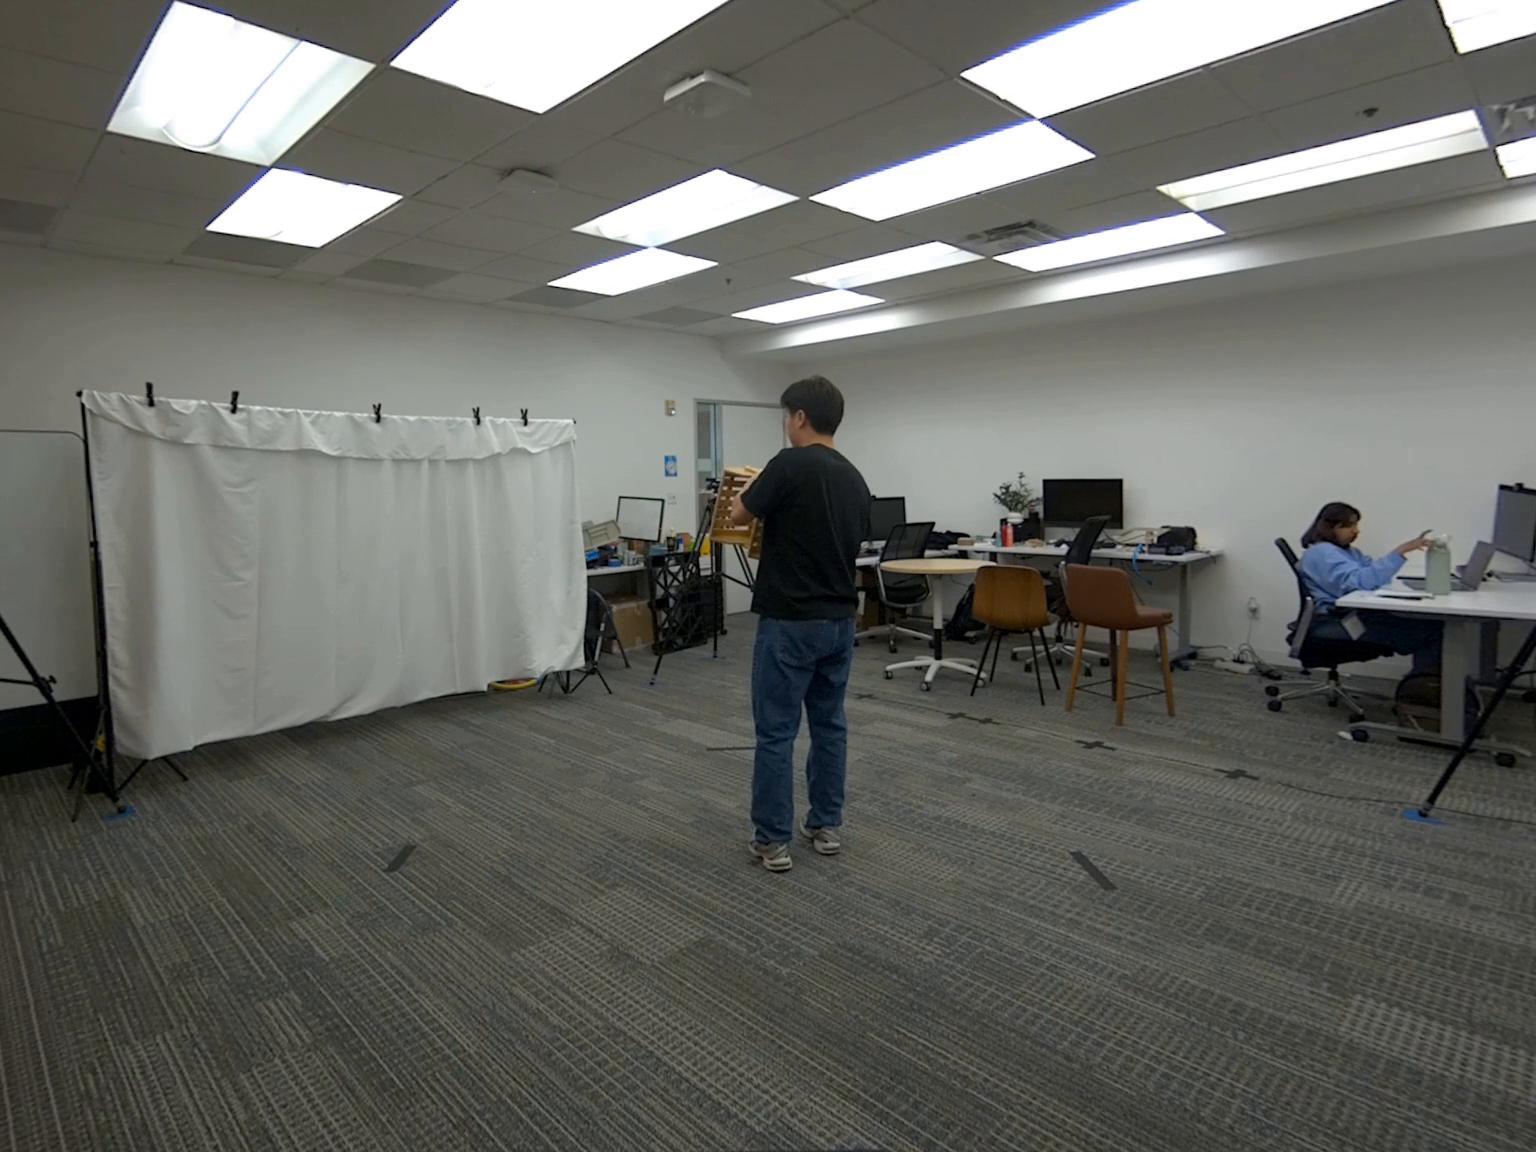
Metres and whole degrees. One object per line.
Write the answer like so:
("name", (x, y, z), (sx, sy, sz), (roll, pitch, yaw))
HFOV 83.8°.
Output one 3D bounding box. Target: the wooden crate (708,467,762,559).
("wooden crate", (-0.028, -0.244, 3.432), (0.295, 0.320, 0.284), (0, 24, -29))
